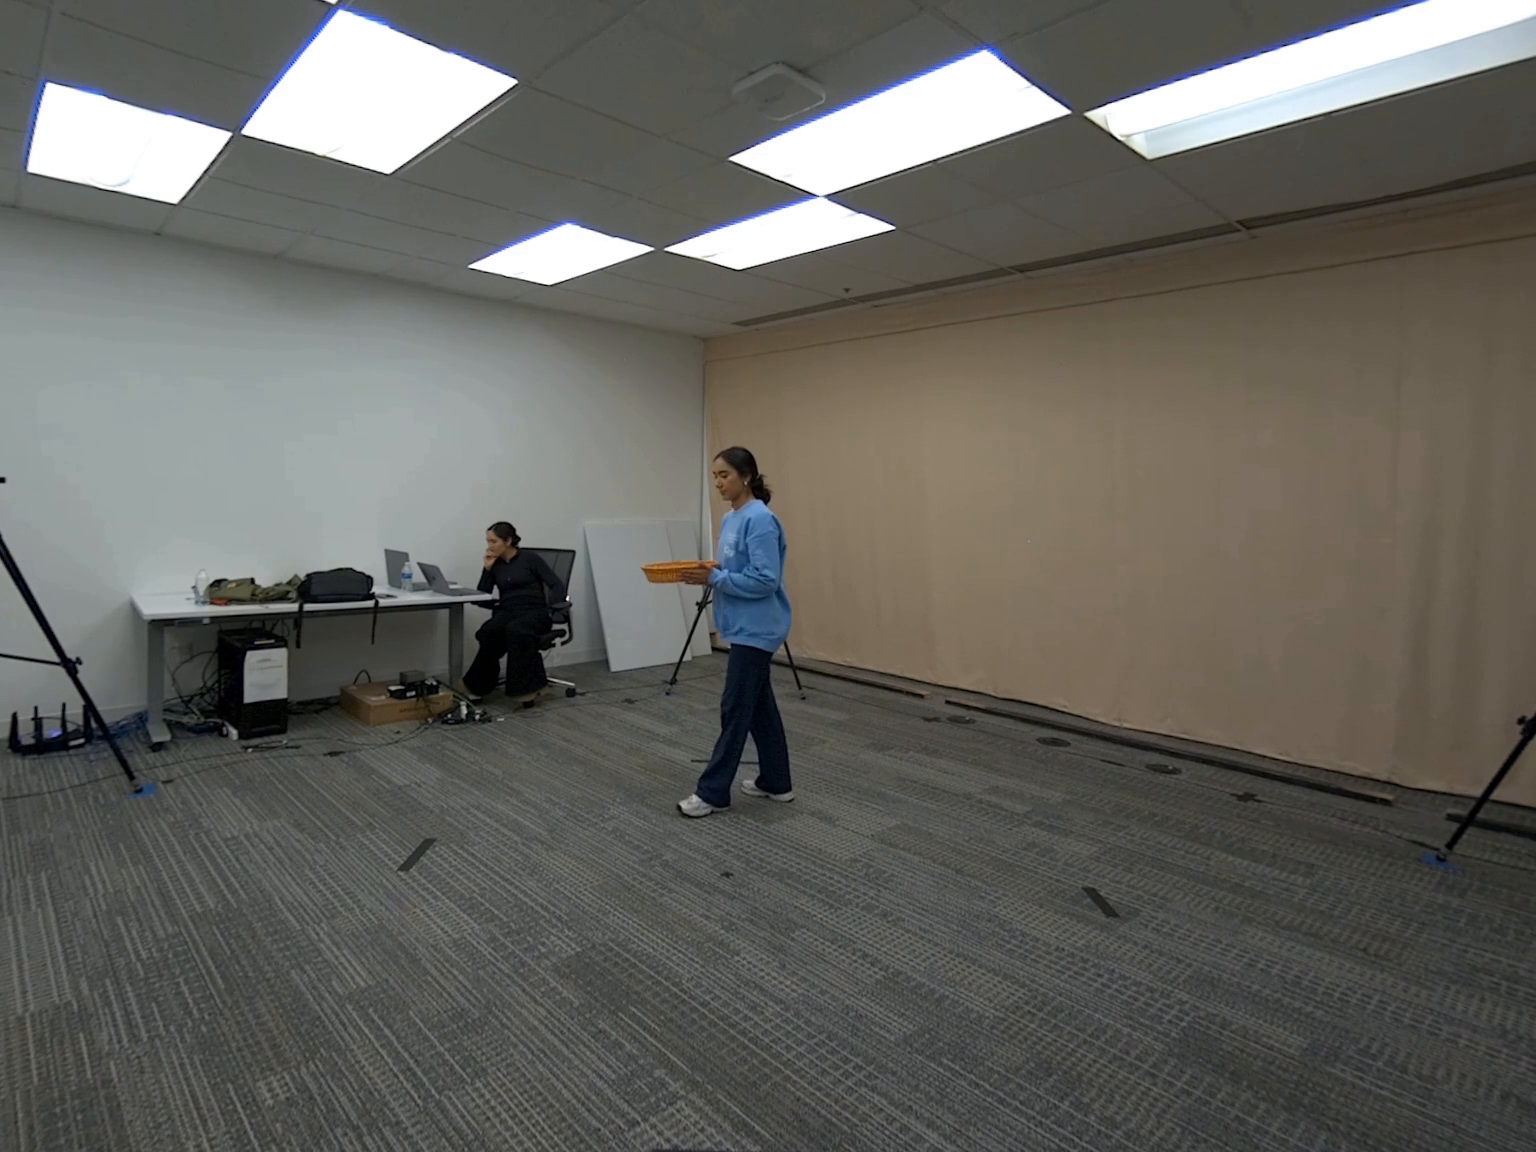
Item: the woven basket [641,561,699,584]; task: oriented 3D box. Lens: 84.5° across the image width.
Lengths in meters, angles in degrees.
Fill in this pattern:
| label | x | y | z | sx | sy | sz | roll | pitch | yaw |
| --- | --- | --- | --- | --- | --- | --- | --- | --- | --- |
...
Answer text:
| label | x | y | z | sx | sy | sz | roll | pitch | yaw |
| --- | --- | --- | --- | --- | --- | --- | --- | --- | --- |
| woven basket | -0.395 | -0.017 | 3.746 | 0.347 | 0.073 | 0.256 | -3 | 6 | -13 |
